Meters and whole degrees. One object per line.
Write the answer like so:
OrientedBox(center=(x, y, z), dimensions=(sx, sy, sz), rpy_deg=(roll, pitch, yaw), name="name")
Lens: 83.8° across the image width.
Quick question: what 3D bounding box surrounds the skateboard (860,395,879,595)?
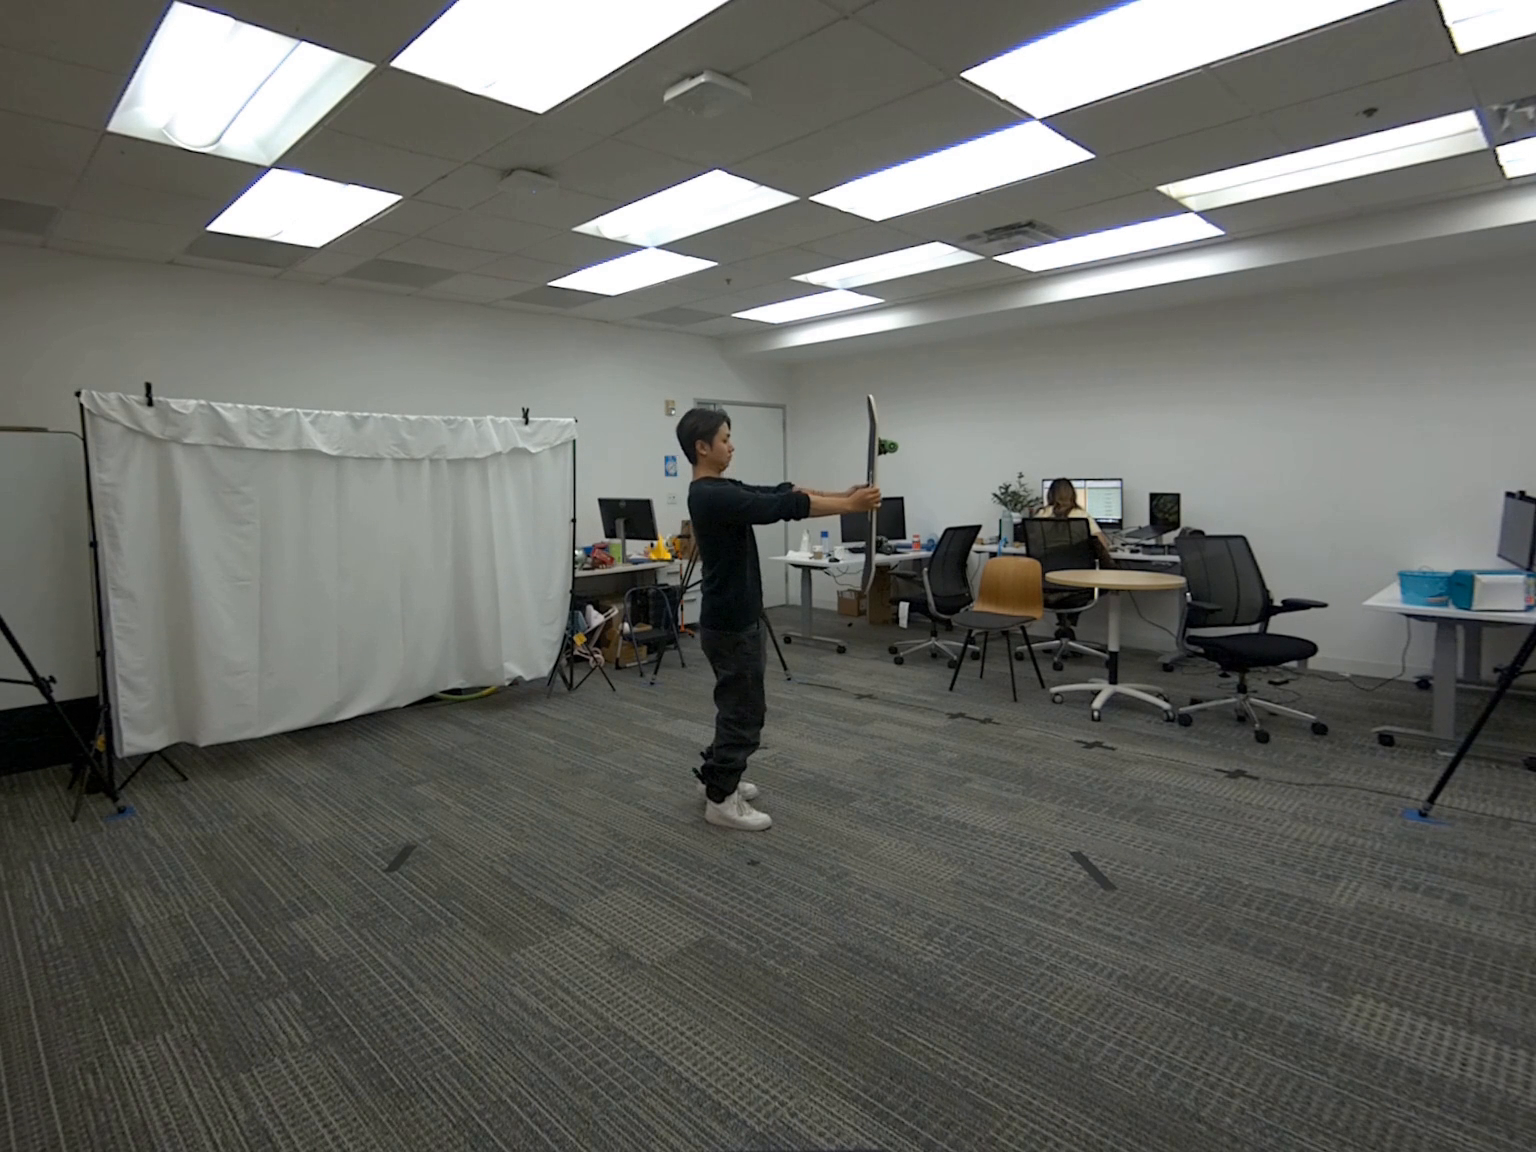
OrientedBox(center=(0.438, -0.311, 3.380), dimensions=(0.110, 0.779, 0.195), rpy_deg=(1, 9, 0), name="skateboard")
